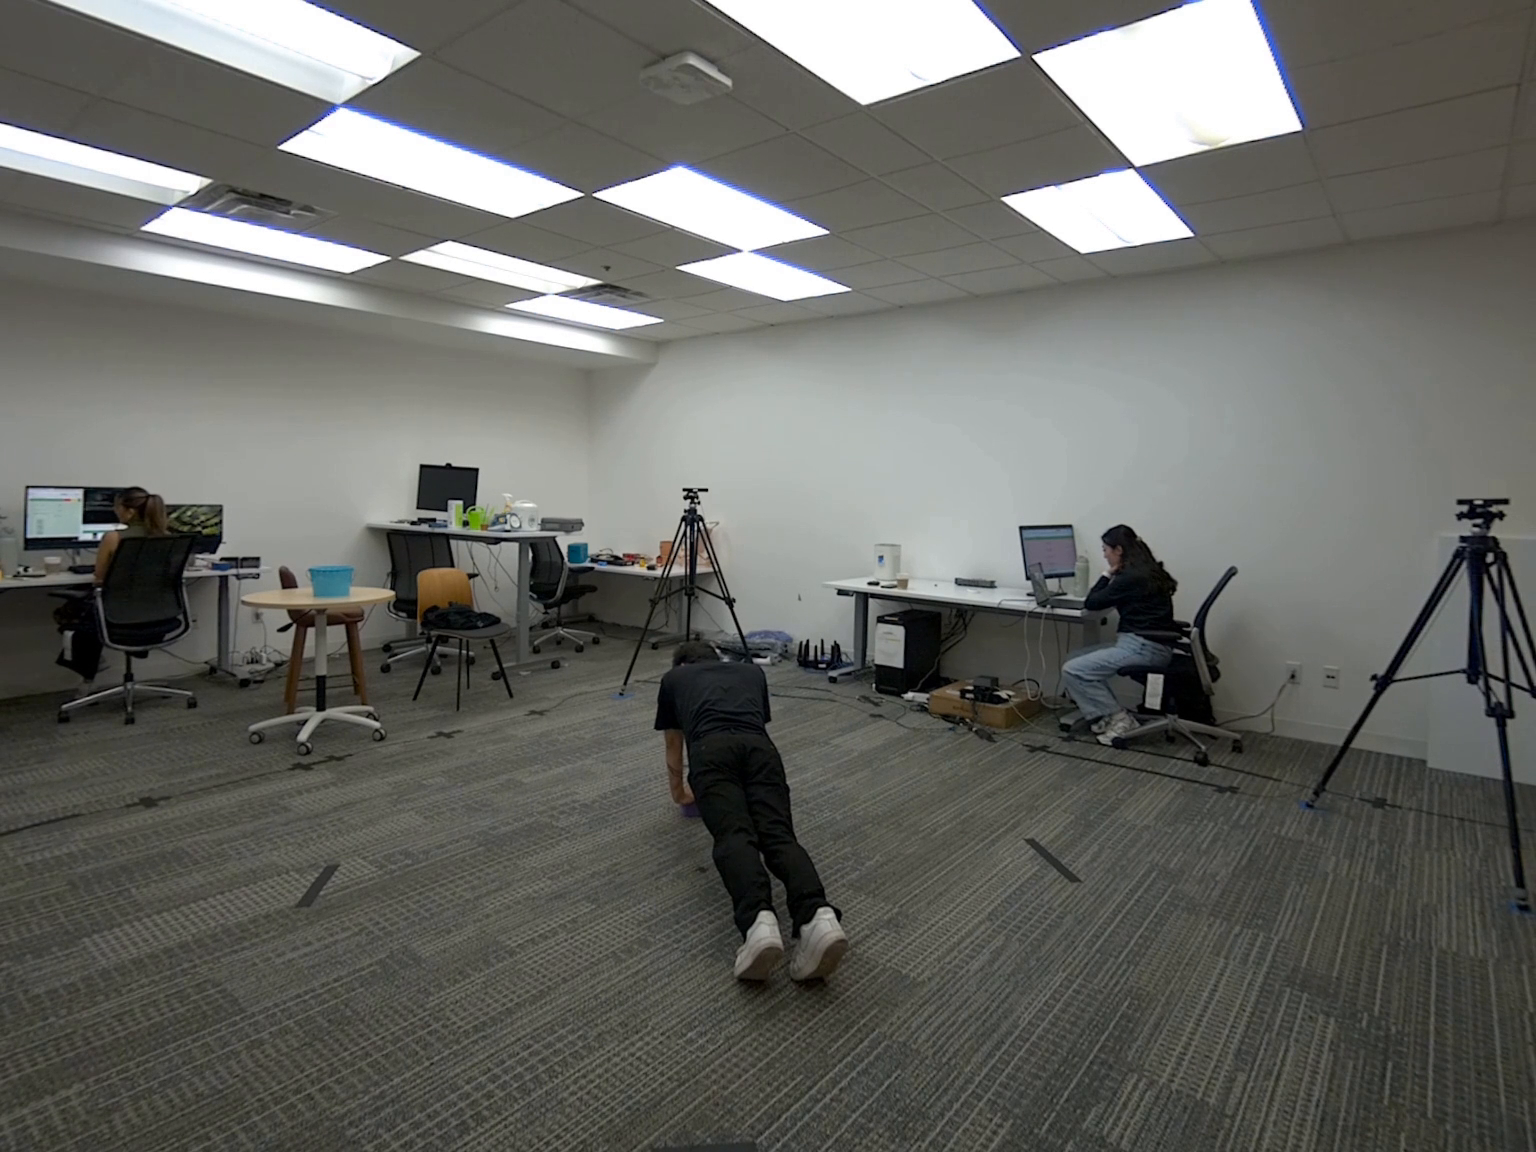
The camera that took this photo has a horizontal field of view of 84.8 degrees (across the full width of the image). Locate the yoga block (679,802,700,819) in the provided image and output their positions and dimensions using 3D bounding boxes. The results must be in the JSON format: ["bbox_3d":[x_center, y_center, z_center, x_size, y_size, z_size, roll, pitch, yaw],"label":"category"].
[{"bbox_3d":[-0.271,0.970,3.686,0.226,0.076,0.151,-1,5,-13],"label":"yoga block"}]
